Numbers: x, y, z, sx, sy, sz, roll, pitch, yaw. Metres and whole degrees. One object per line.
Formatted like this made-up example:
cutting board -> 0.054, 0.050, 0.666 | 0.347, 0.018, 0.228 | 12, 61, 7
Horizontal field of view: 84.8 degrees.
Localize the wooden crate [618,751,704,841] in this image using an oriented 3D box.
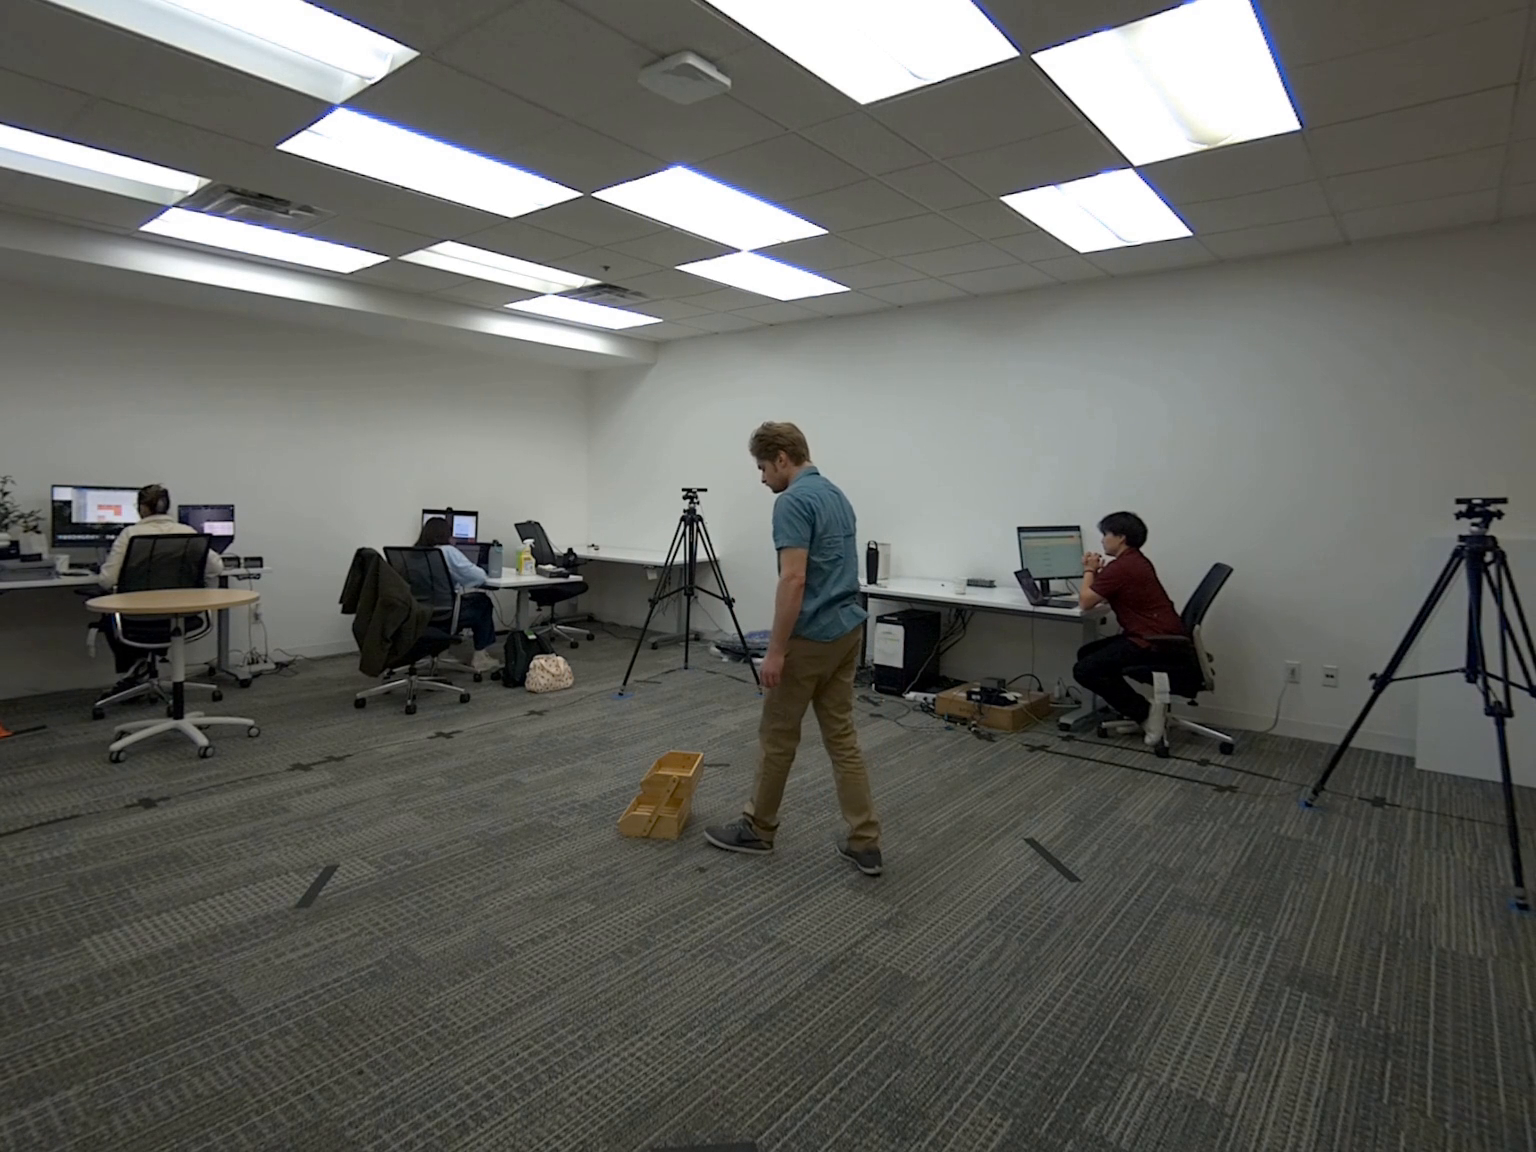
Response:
wooden crate -> -0.462, 0.892, 3.530 | 0.305, 0.272, 0.323 | 2, 5, 7
